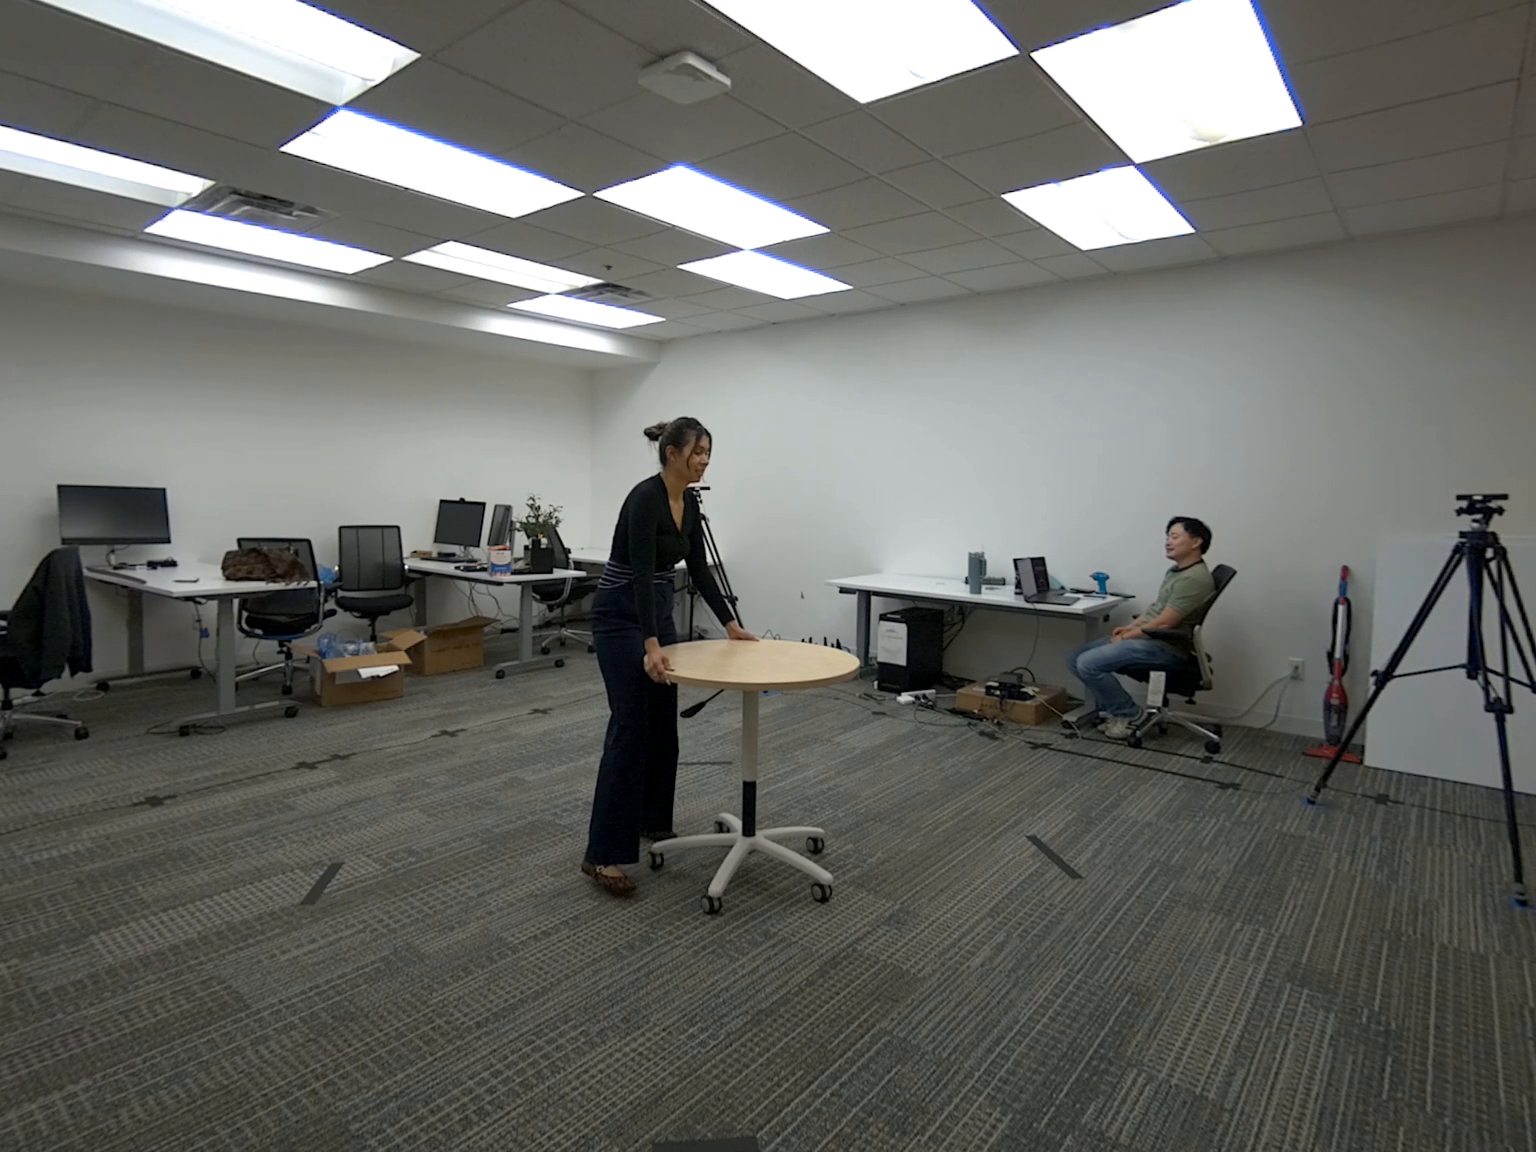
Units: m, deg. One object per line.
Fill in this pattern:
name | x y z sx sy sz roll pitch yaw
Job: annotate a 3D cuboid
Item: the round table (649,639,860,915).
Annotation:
round table | -0.076 0.682 3.060 0.763 0.791 0.768 1 4 -2
